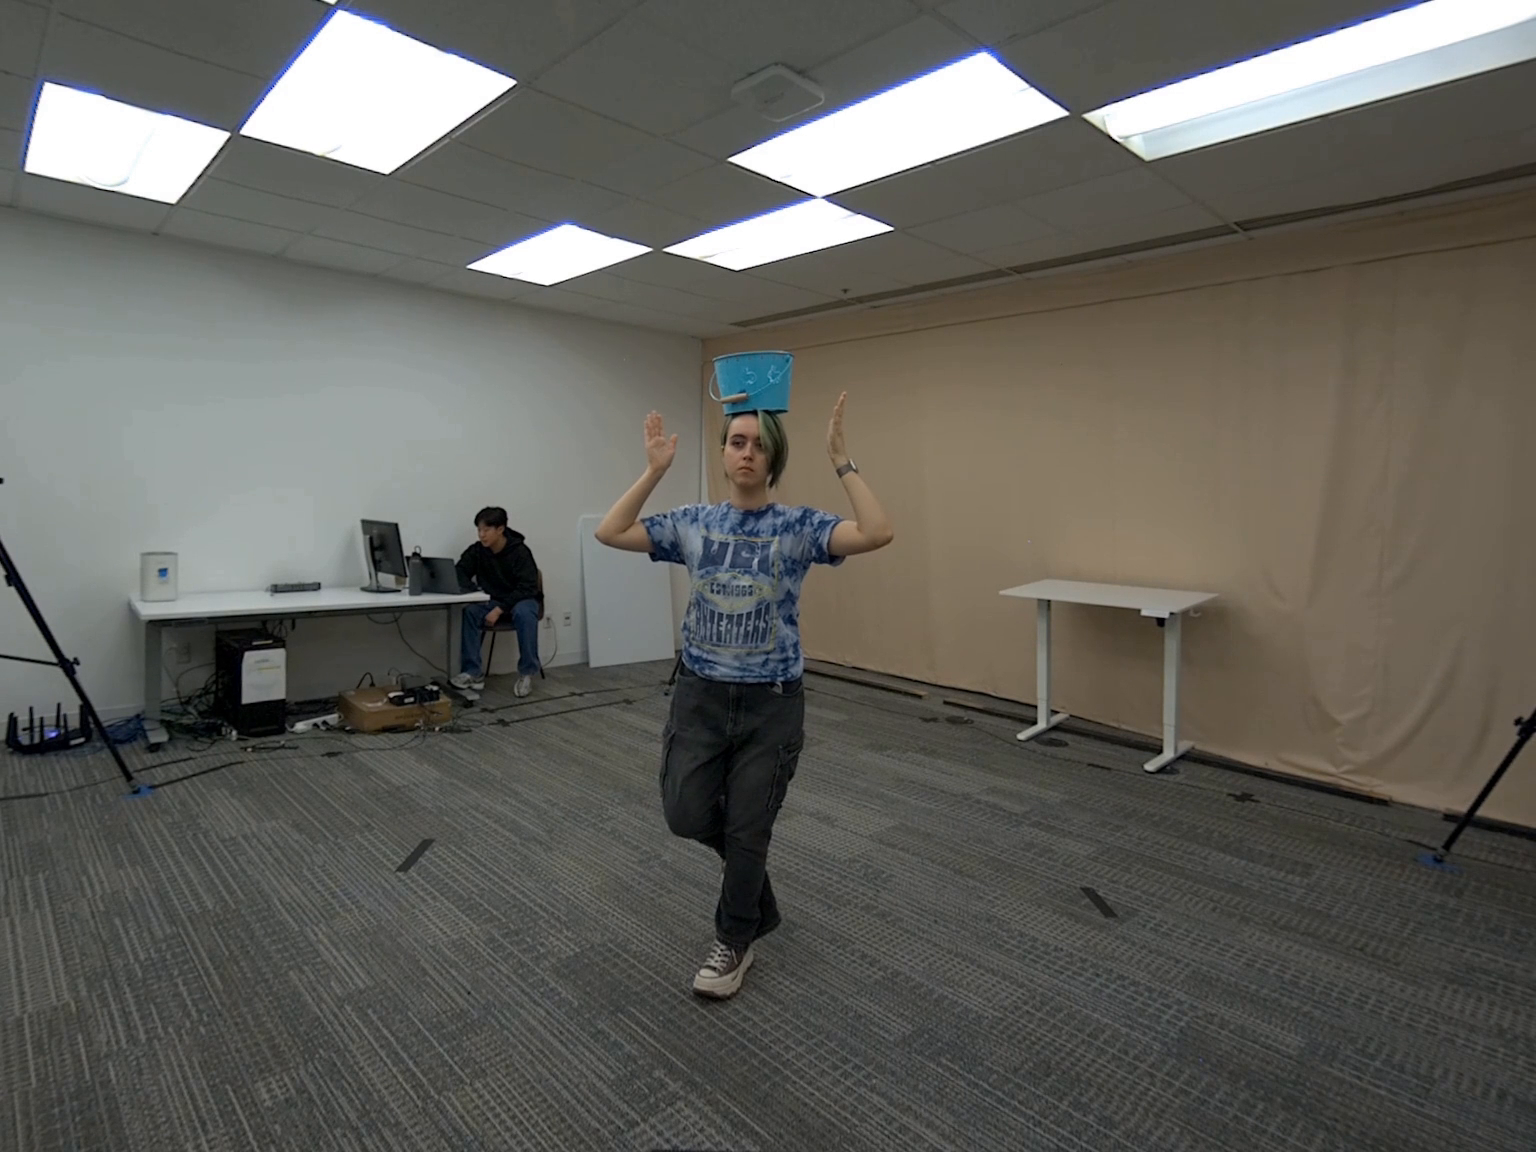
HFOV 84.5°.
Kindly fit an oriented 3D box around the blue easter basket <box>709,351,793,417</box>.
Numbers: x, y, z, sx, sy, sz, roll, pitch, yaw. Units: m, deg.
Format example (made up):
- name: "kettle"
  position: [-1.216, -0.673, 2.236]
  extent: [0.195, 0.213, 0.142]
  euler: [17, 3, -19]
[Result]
- name: "blue easter basket"
  position: [-0.040, -0.527, 2.343]
  extent: [0.243, 0.155, 0.244]
  euler: [-3, 5, -1]
